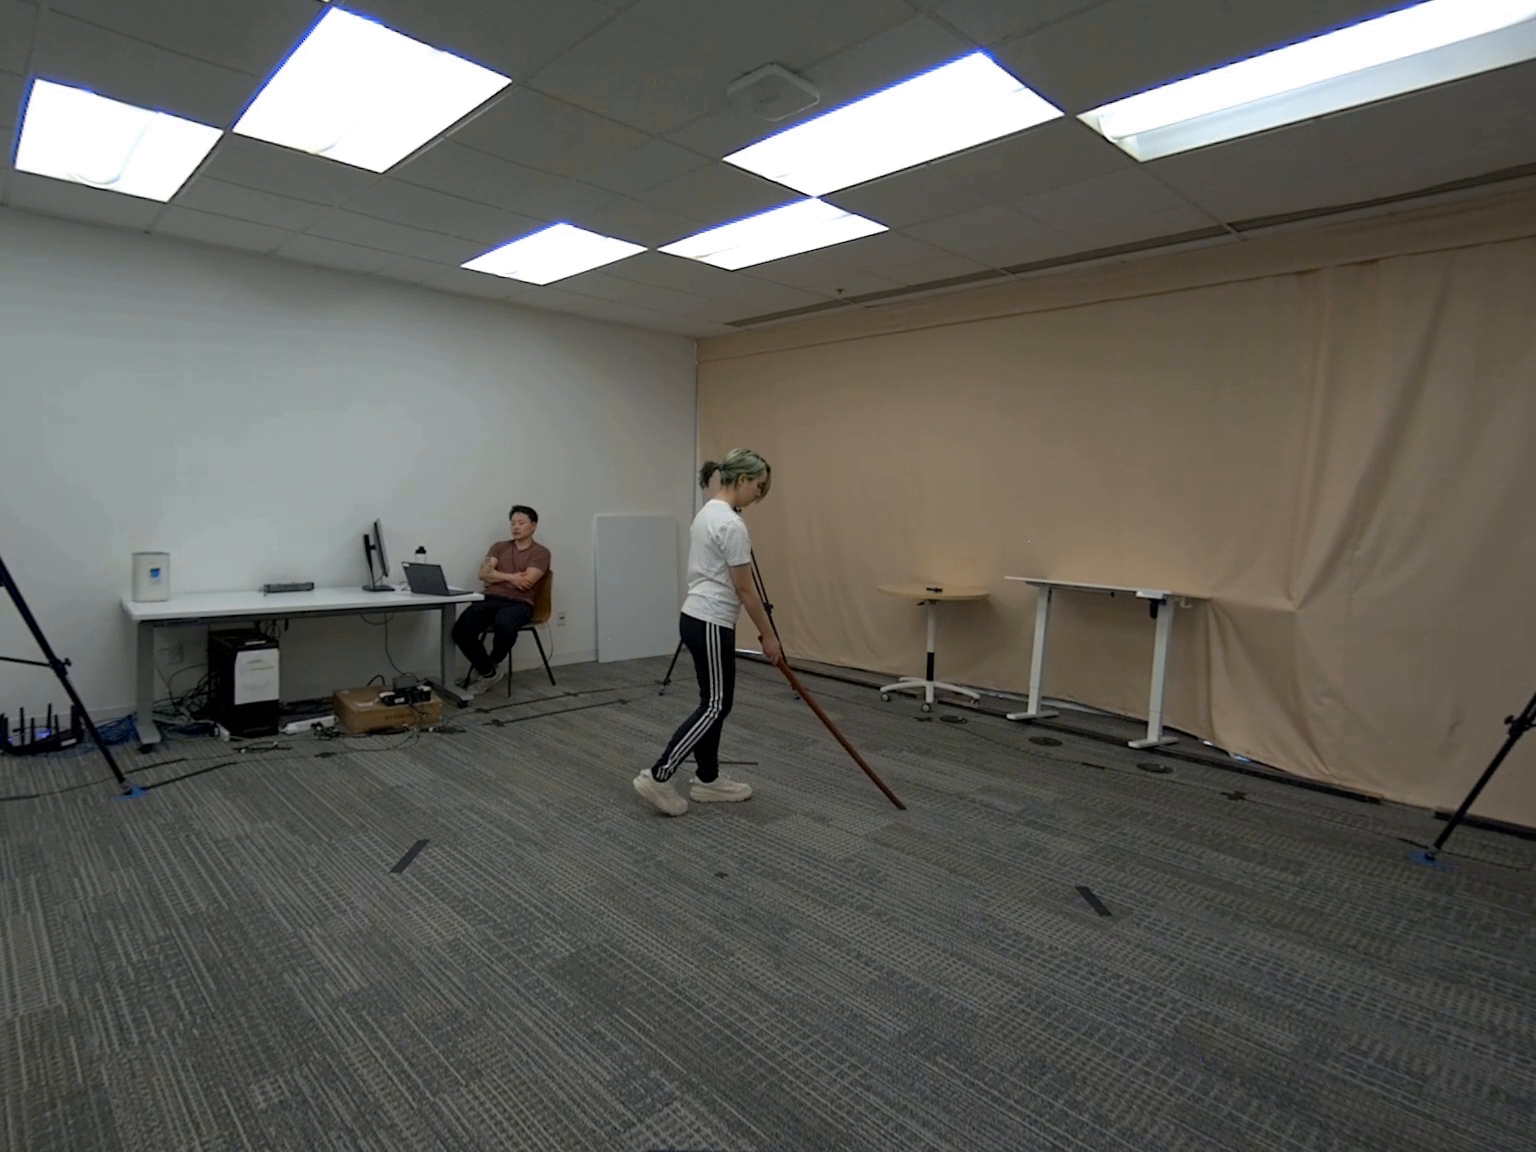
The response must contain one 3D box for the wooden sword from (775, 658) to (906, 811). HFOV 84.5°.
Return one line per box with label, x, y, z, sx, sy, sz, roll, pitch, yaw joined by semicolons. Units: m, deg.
wooden sword;0.272;0.668;3.832;0.024;1.022;0.051;-39;2;12
